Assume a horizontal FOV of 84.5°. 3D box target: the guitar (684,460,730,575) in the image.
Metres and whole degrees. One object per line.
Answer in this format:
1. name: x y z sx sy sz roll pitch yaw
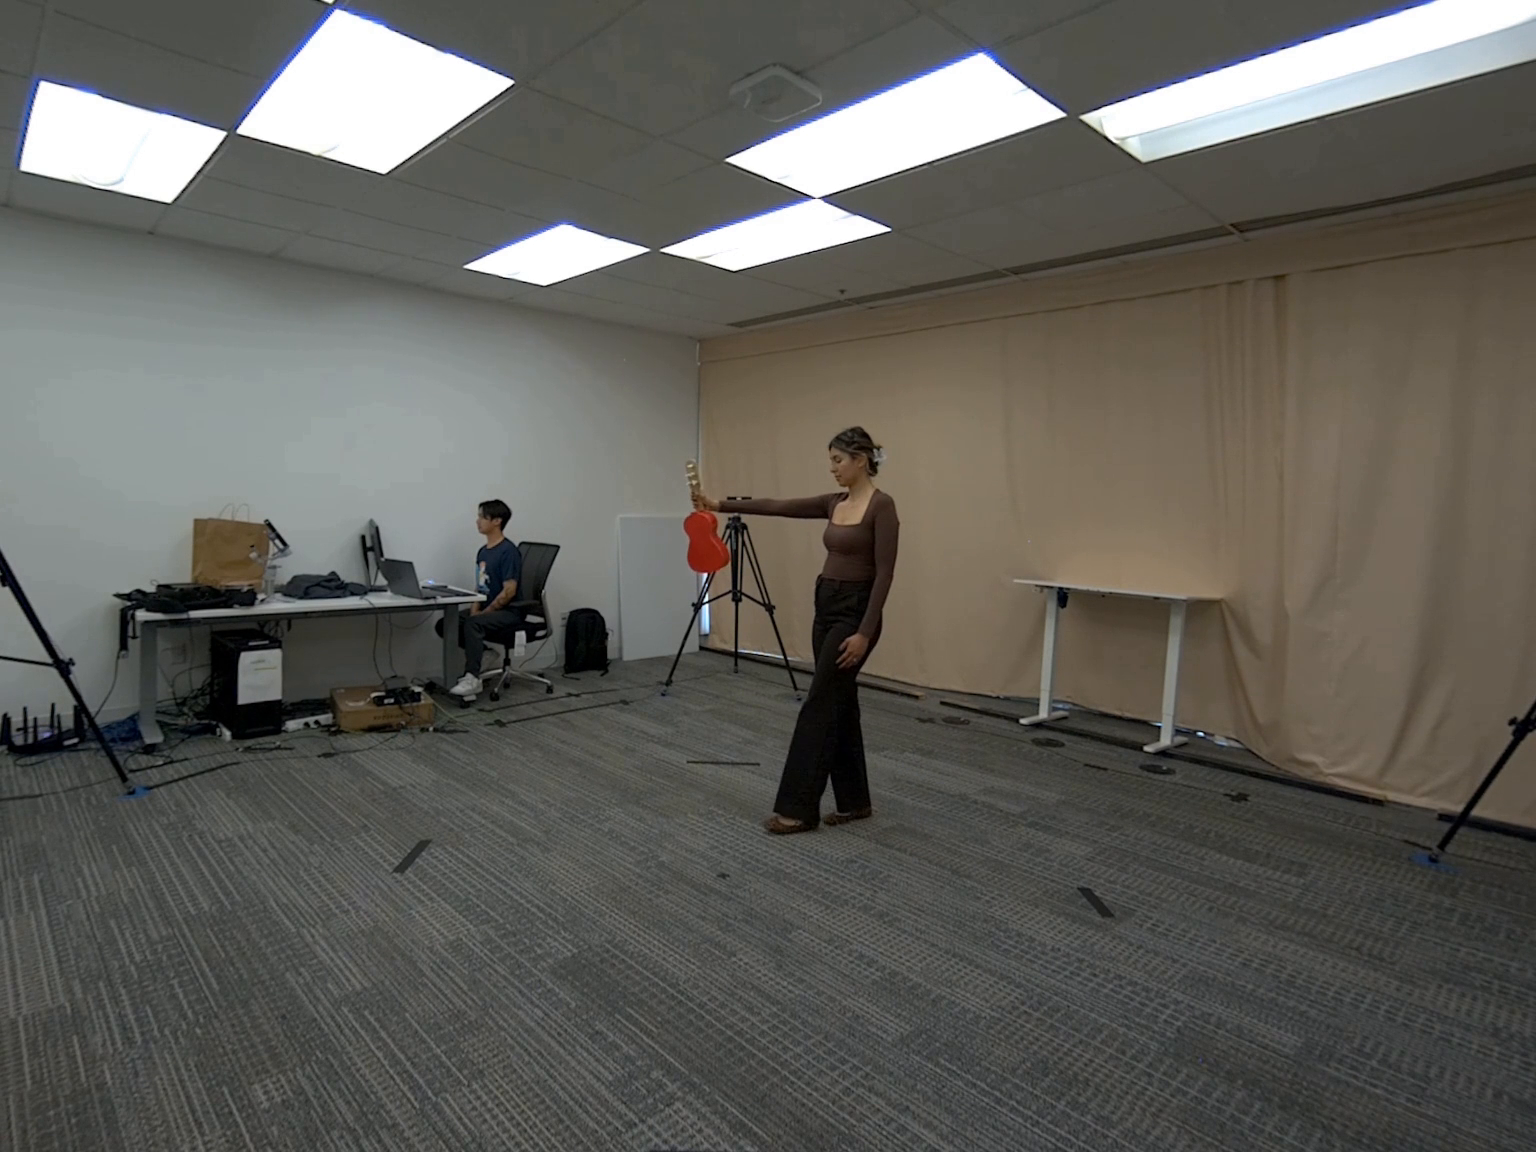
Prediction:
1. guitar: -0.333 -0.258 3.726 0.196 0.496 0.070 -18 3 32
